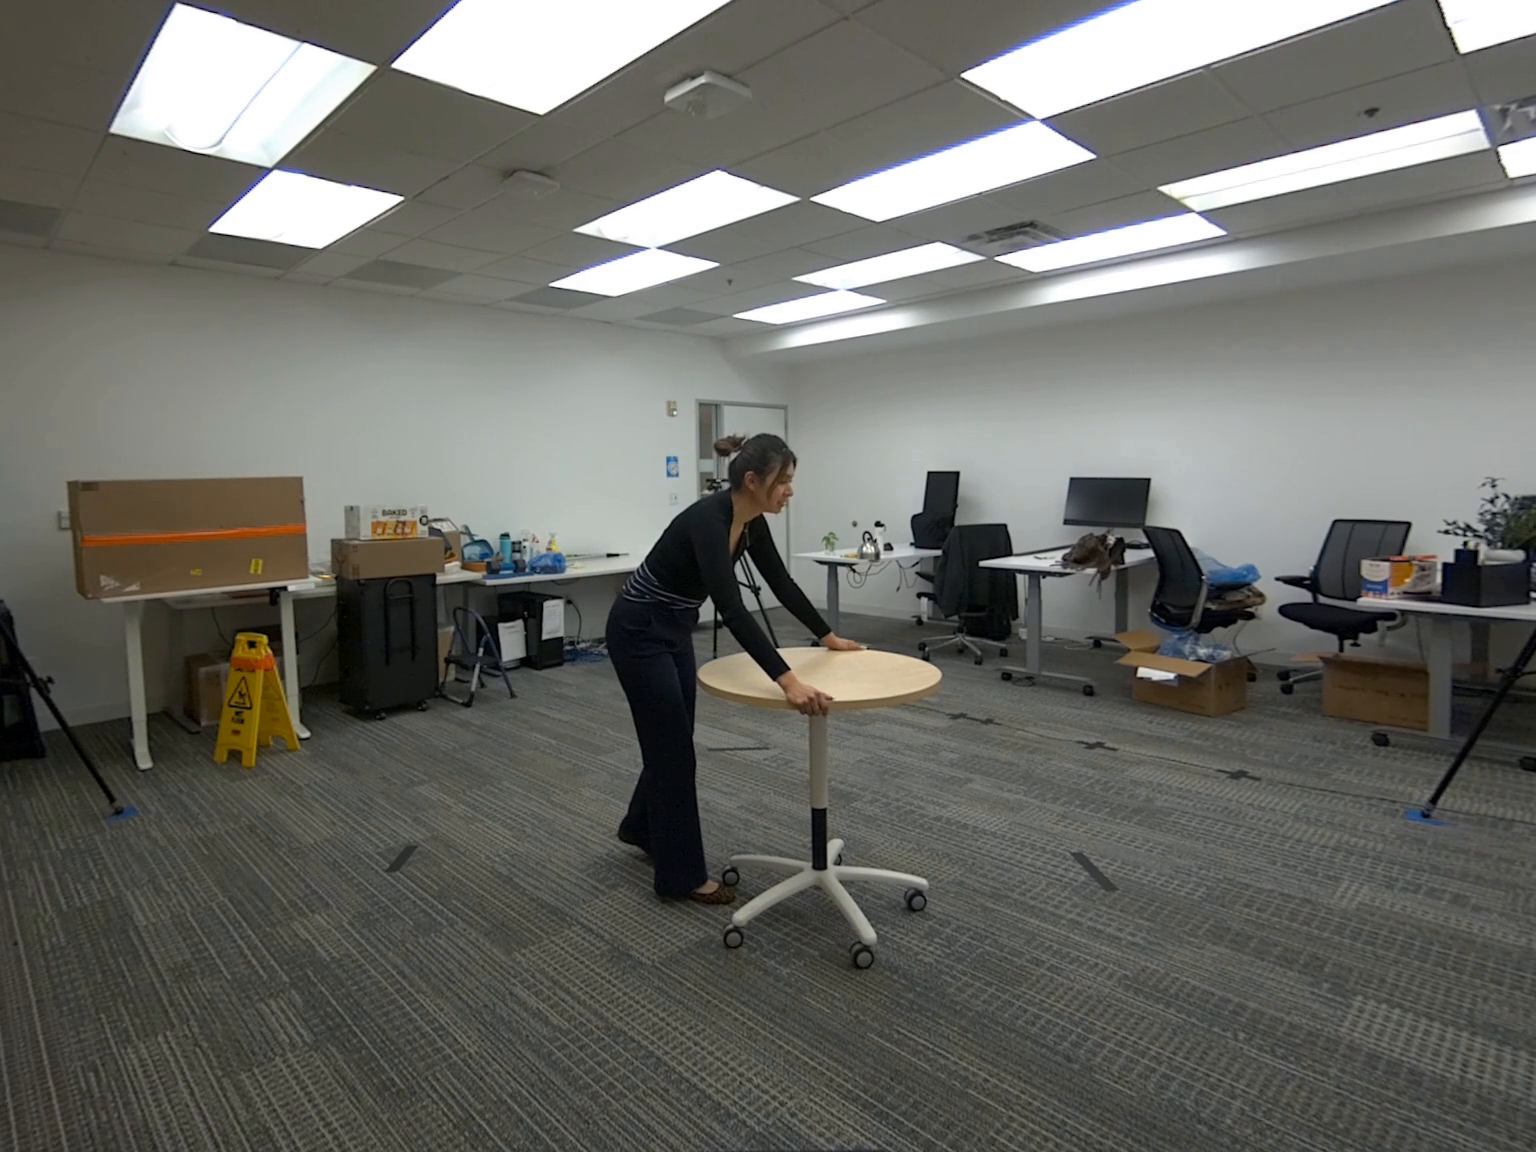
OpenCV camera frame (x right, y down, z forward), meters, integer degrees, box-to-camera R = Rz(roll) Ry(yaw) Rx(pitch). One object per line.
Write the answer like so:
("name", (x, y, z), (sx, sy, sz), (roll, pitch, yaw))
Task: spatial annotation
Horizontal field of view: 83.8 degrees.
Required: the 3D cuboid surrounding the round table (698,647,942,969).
("round table", (0.165, 0.690, 2.739), (0.763, 0.791, 0.768), (-1, 5, -2))
